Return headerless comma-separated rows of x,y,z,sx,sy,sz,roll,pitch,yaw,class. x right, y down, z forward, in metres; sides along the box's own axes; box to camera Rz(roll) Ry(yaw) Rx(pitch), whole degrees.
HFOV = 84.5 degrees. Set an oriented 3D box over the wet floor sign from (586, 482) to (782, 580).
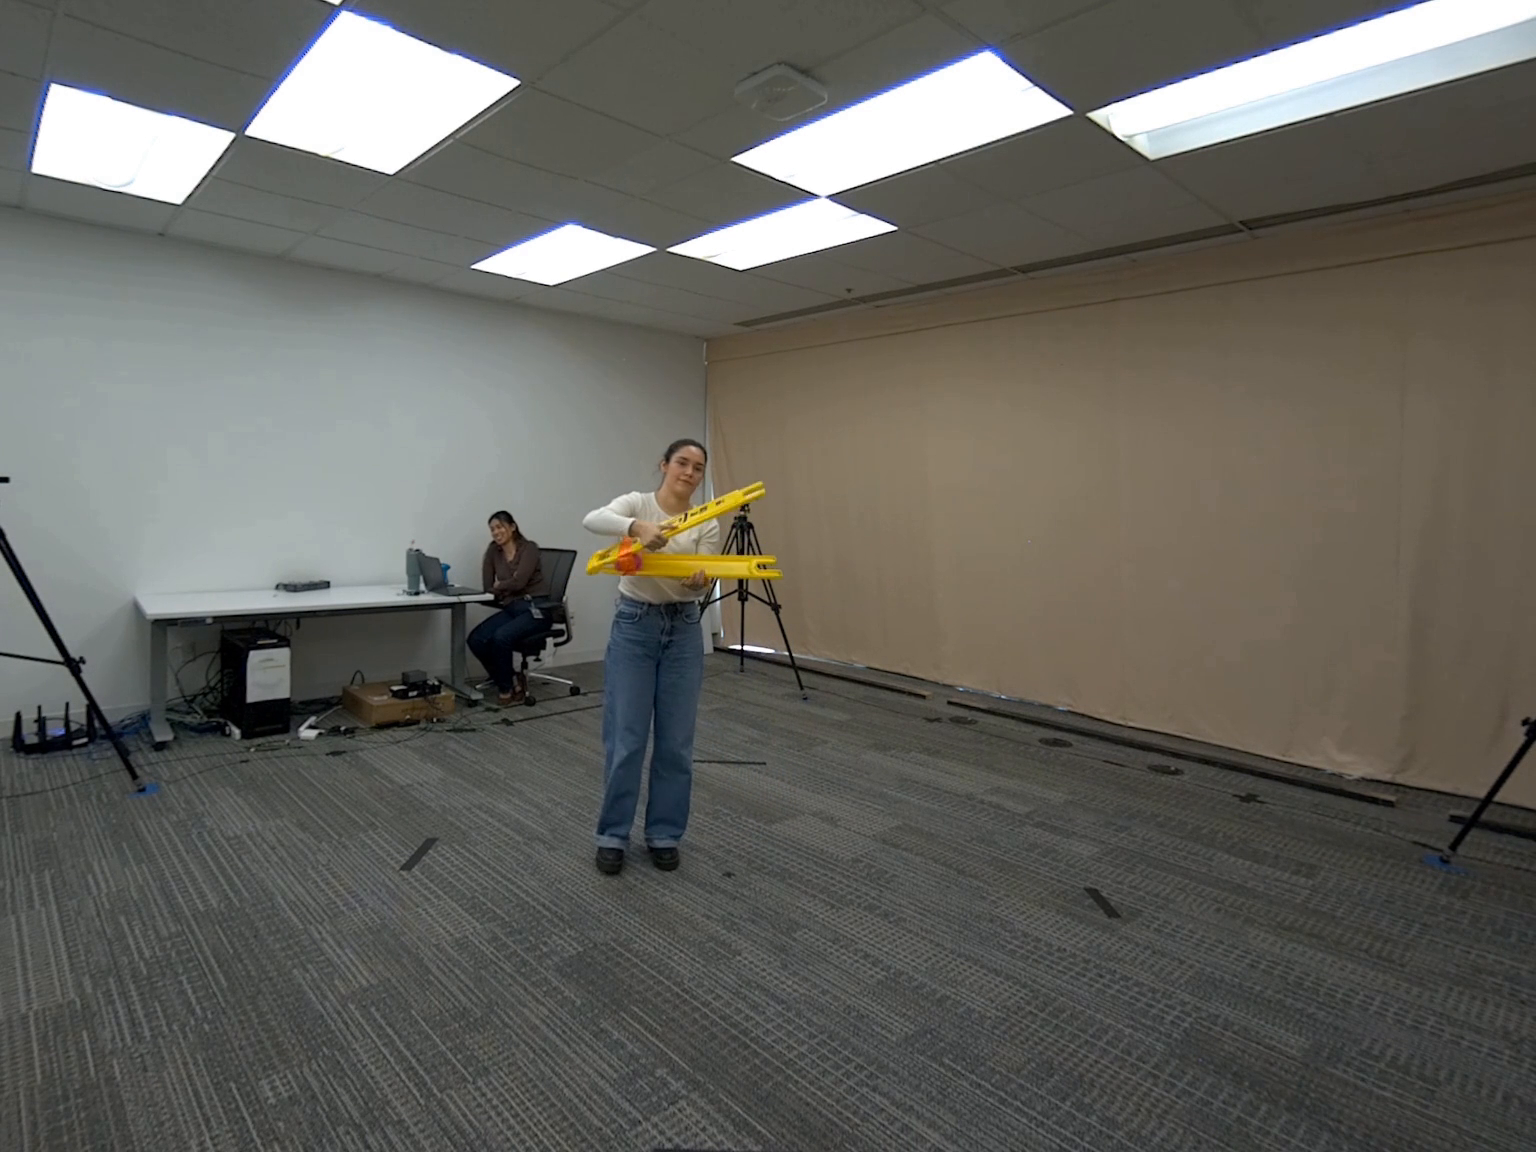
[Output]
-0.313,-0.100,2.880,0.646,0.287,0.285,-11,13,0,wet floor sign
